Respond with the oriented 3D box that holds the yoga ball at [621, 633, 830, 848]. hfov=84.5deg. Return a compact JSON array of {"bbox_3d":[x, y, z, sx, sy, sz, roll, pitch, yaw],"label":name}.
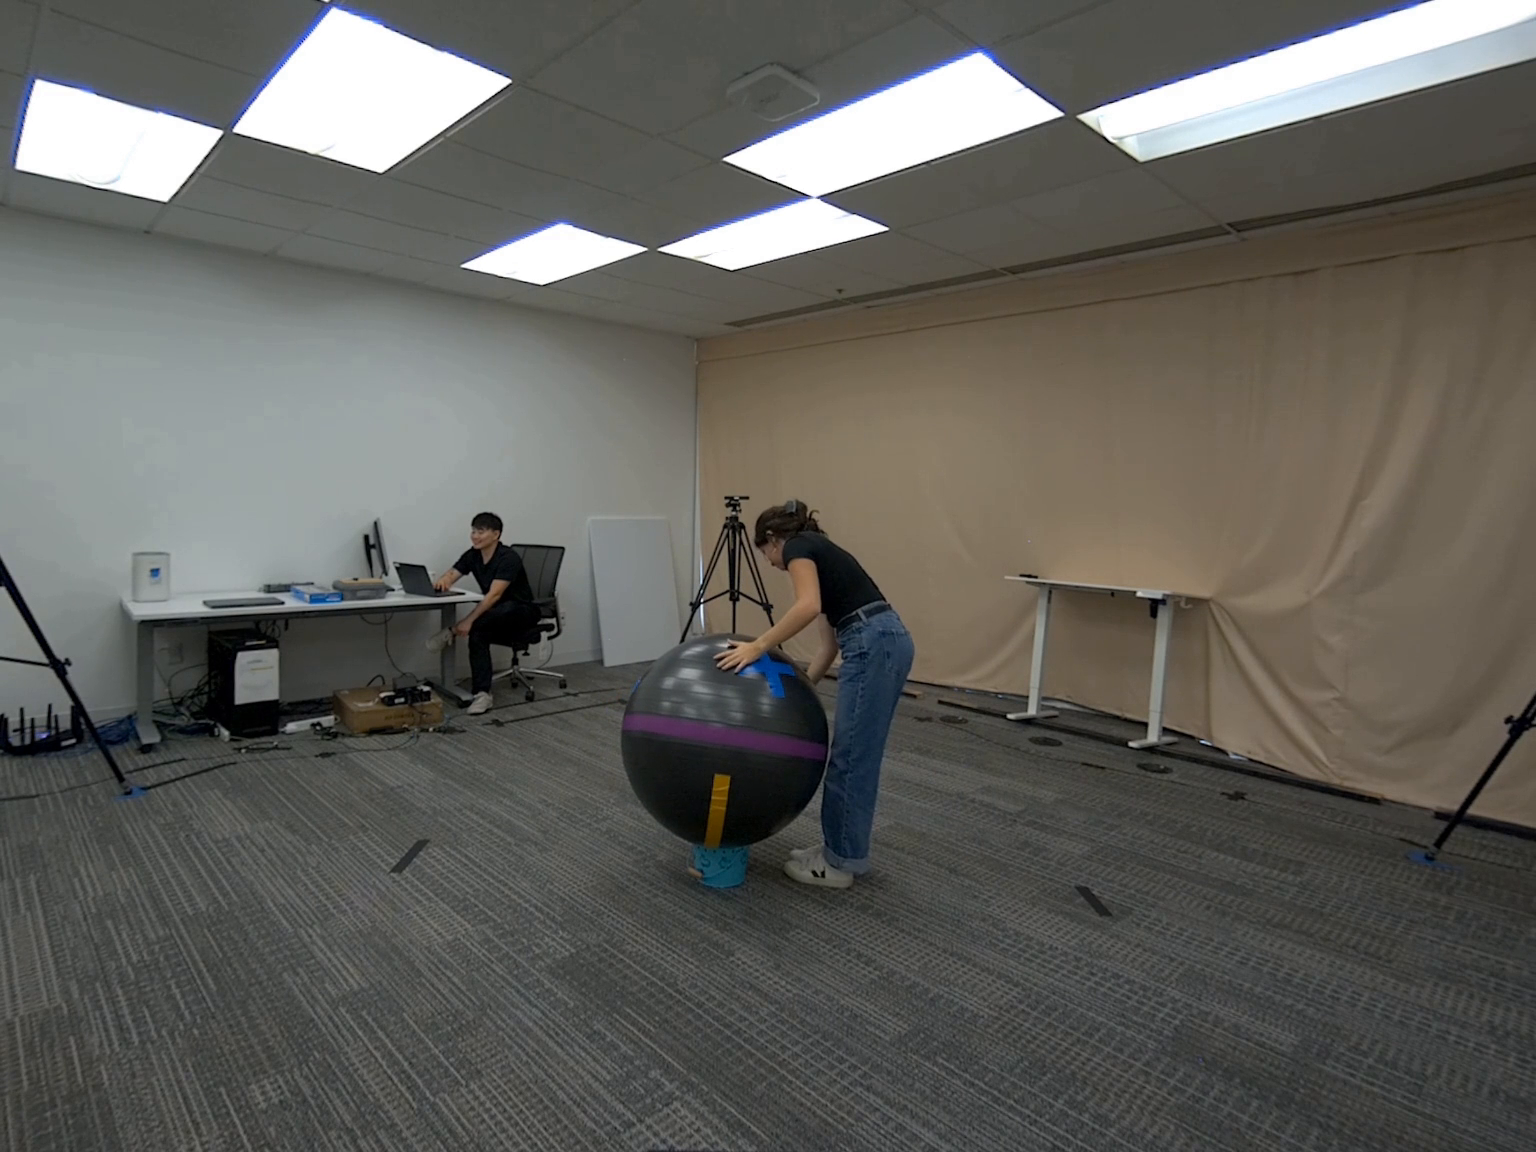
[{"bbox_3d":[-0.166,0.599,3.092,0.757,0.756,0.760,1,4,-1],"label":"yoga ball"}]
